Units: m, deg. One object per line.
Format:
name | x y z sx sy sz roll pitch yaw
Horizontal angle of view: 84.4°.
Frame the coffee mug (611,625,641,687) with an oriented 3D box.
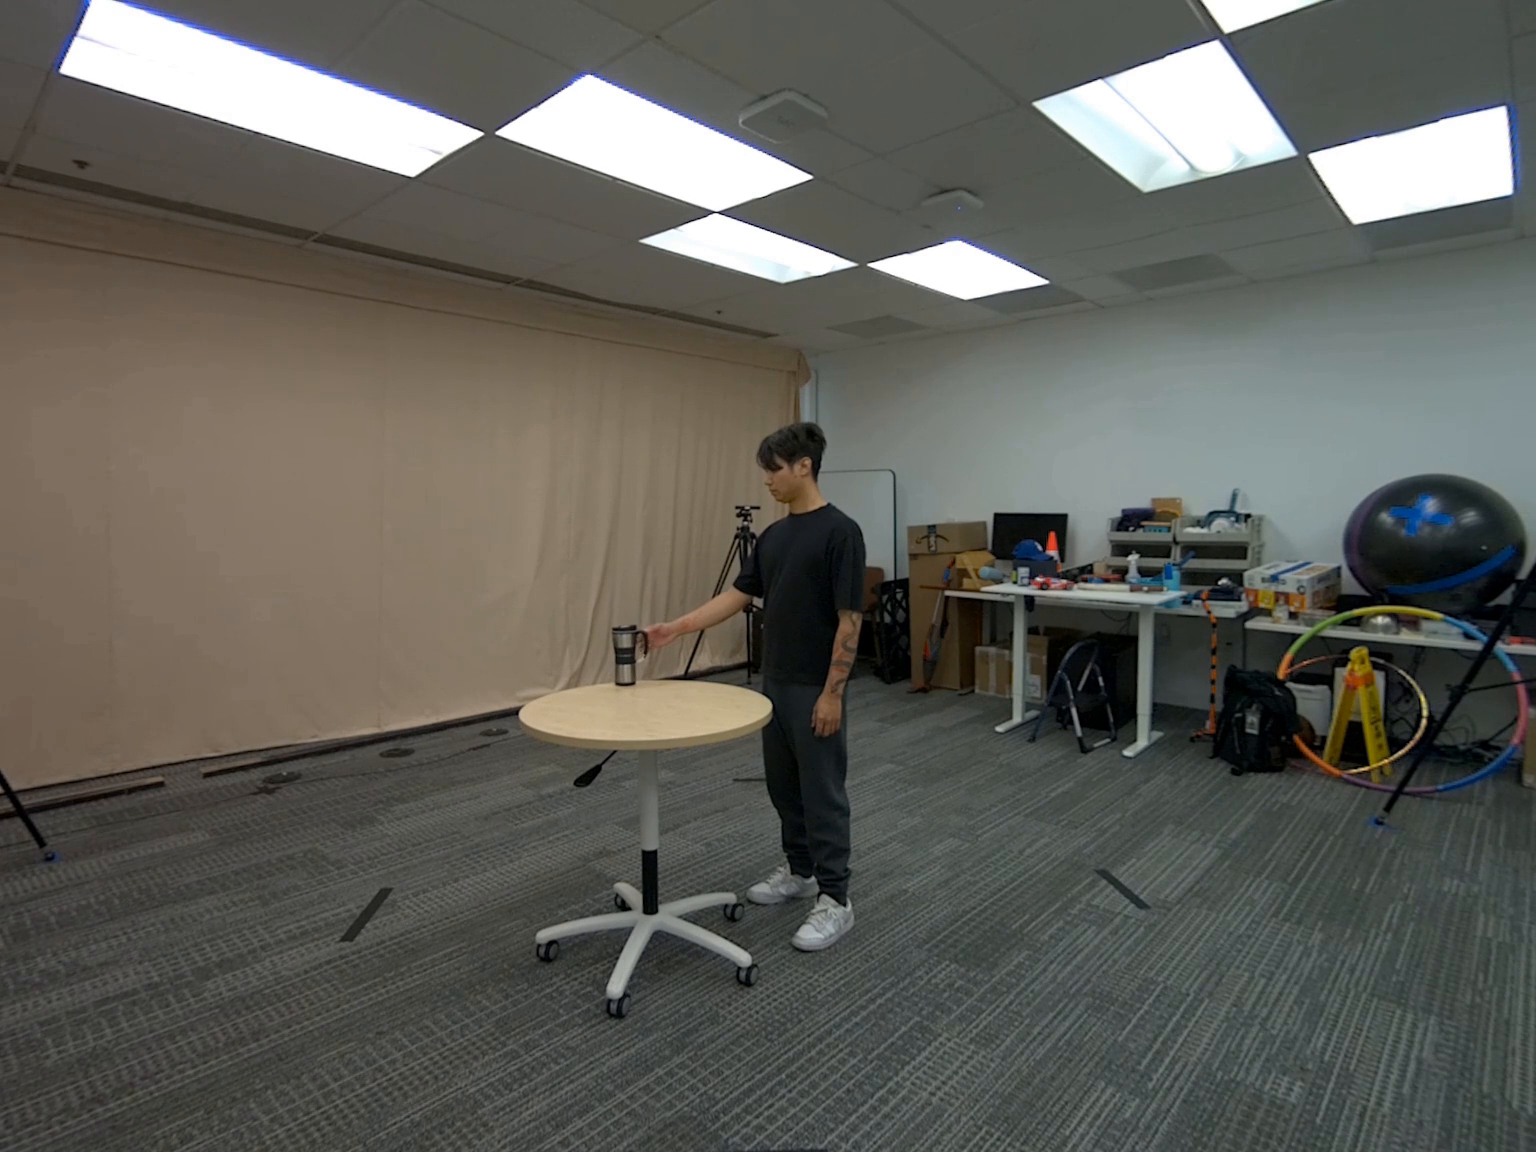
coffee mug | -0.476 0.277 2.882 0.126 0.203 0.085 -1 -2 40
